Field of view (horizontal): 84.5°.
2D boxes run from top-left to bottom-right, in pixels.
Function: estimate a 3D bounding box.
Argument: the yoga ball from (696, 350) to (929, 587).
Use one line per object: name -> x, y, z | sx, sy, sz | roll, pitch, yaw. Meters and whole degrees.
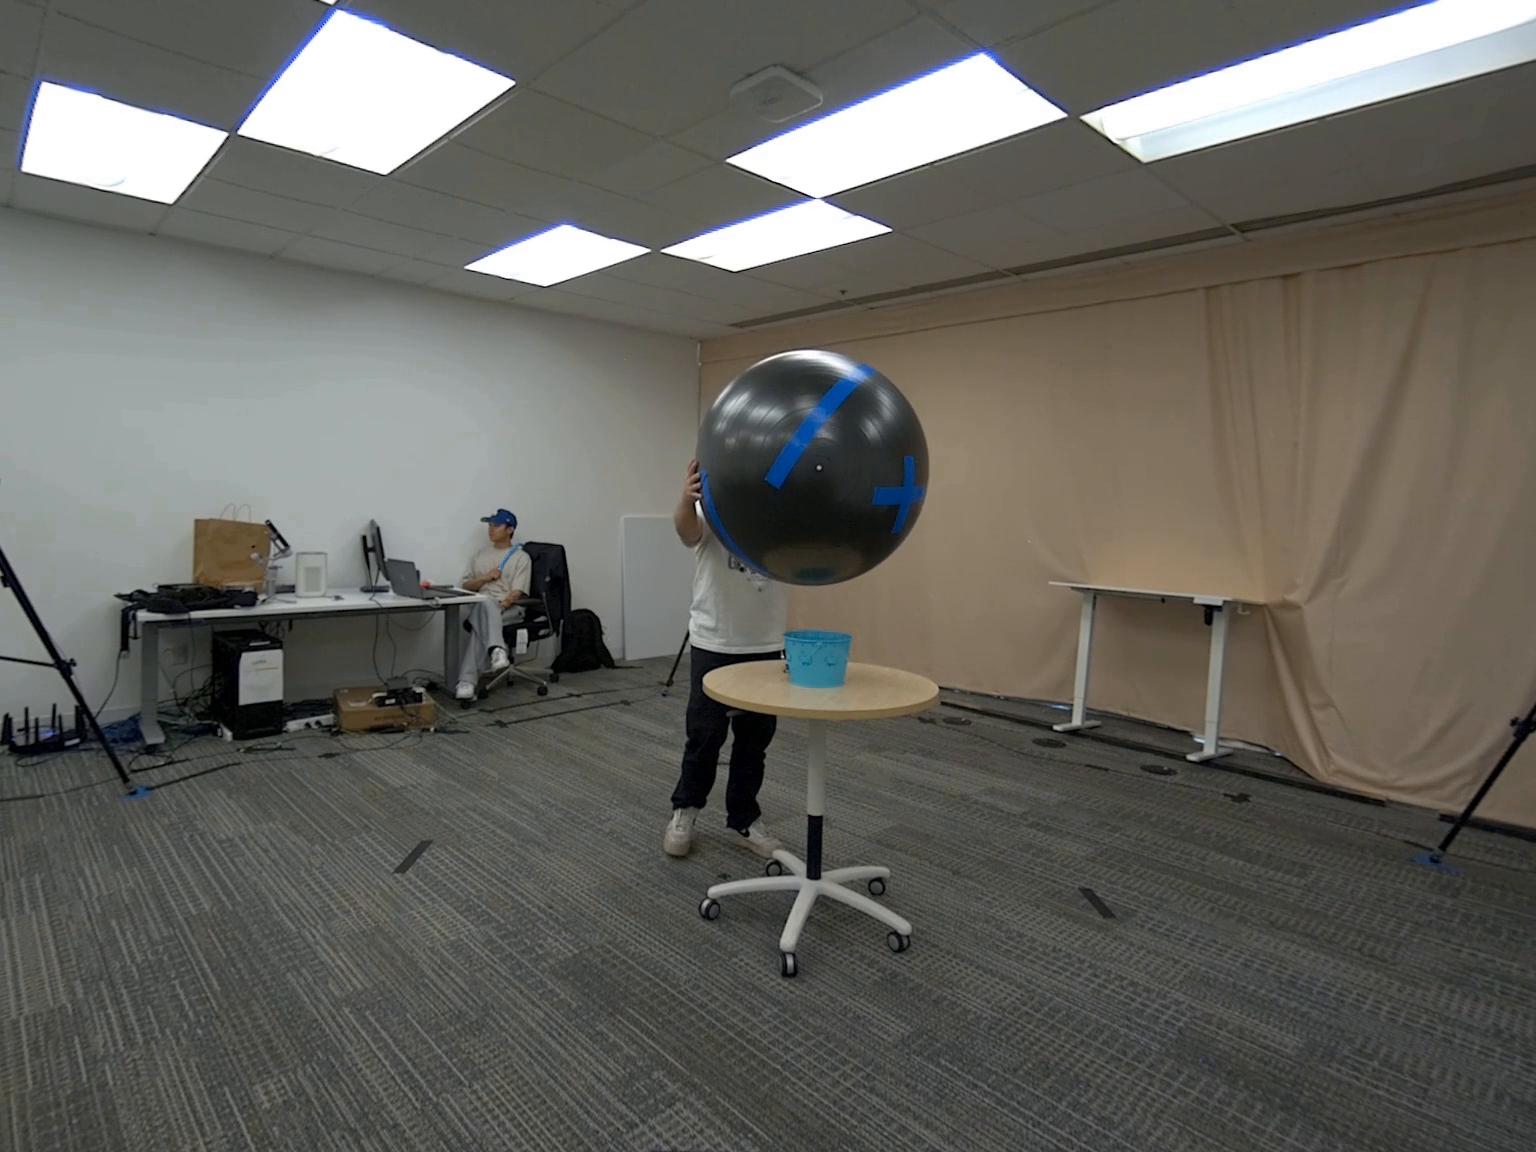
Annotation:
yoga ball -> 0.131, -0.343, 2.743 | 0.757, 0.756, 0.761 | 1, 4, -1
